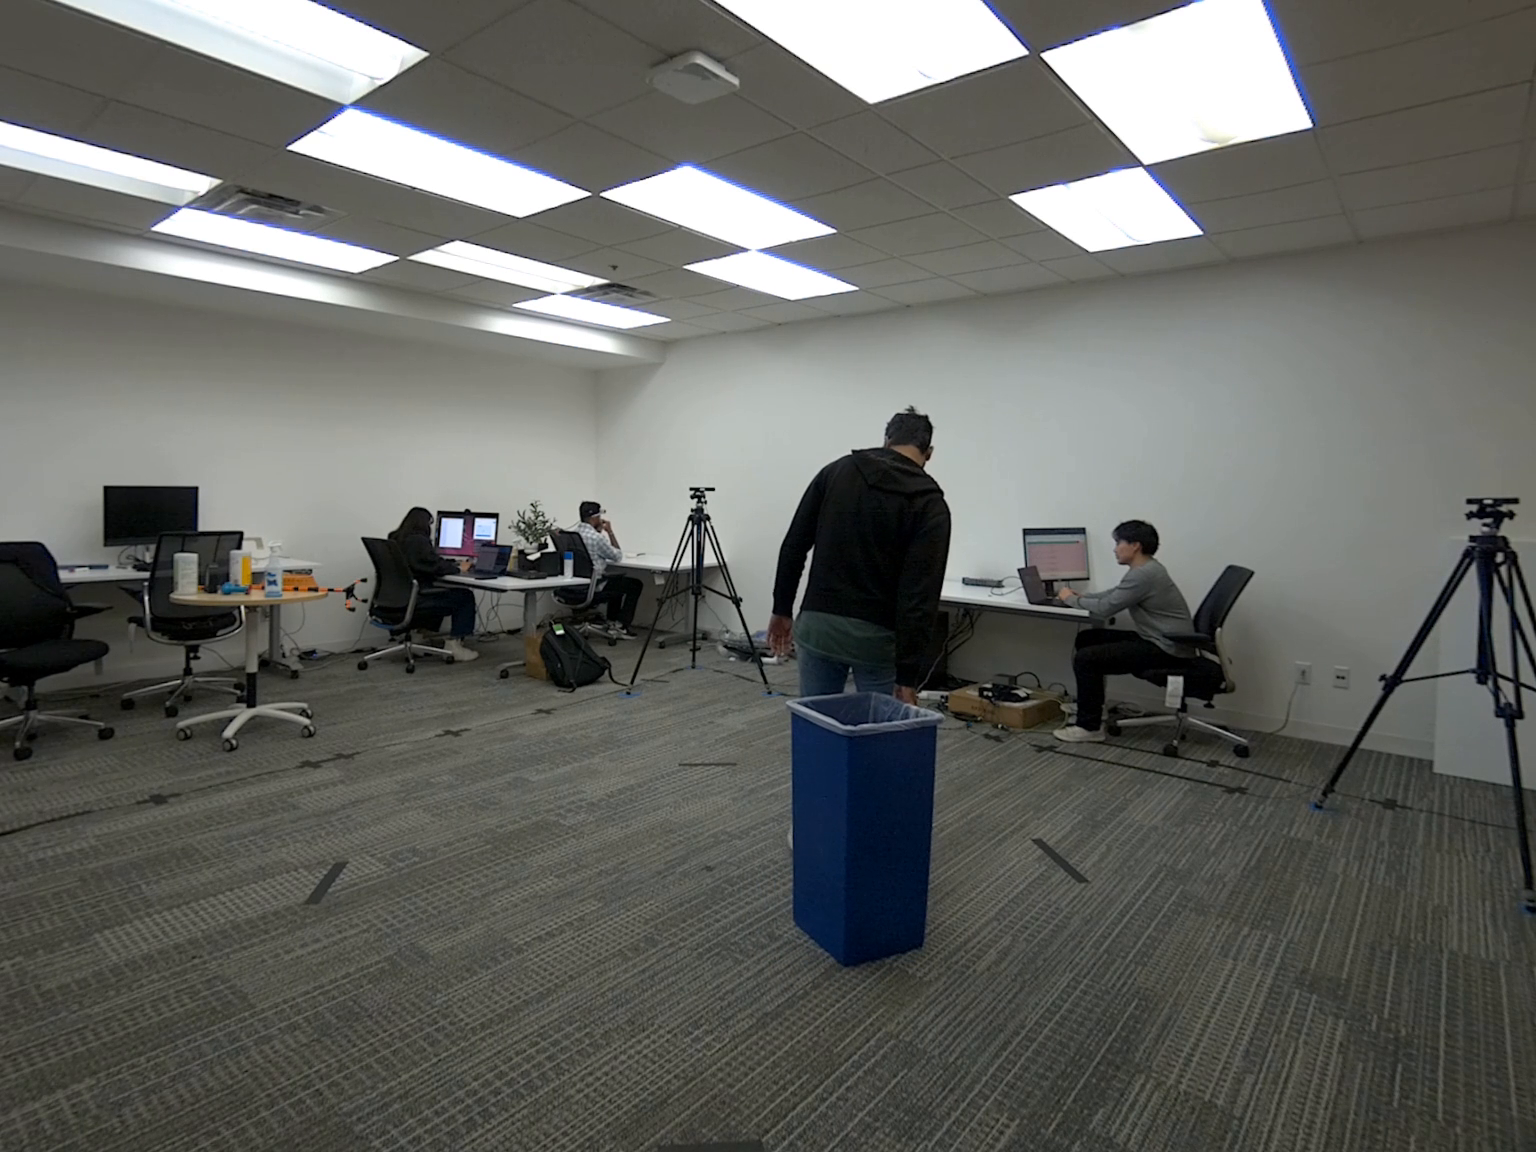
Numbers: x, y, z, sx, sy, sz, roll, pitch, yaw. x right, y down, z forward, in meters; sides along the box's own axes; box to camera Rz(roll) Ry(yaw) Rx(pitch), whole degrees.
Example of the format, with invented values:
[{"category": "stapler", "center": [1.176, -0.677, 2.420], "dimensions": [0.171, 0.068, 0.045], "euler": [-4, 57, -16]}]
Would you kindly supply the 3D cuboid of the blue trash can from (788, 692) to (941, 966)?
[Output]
[{"category": "blue trash can", "center": [0.273, 0.761, 2.661], "dimensions": [0.368, 0.711, 0.385], "euler": [0, 4, -29]}]
